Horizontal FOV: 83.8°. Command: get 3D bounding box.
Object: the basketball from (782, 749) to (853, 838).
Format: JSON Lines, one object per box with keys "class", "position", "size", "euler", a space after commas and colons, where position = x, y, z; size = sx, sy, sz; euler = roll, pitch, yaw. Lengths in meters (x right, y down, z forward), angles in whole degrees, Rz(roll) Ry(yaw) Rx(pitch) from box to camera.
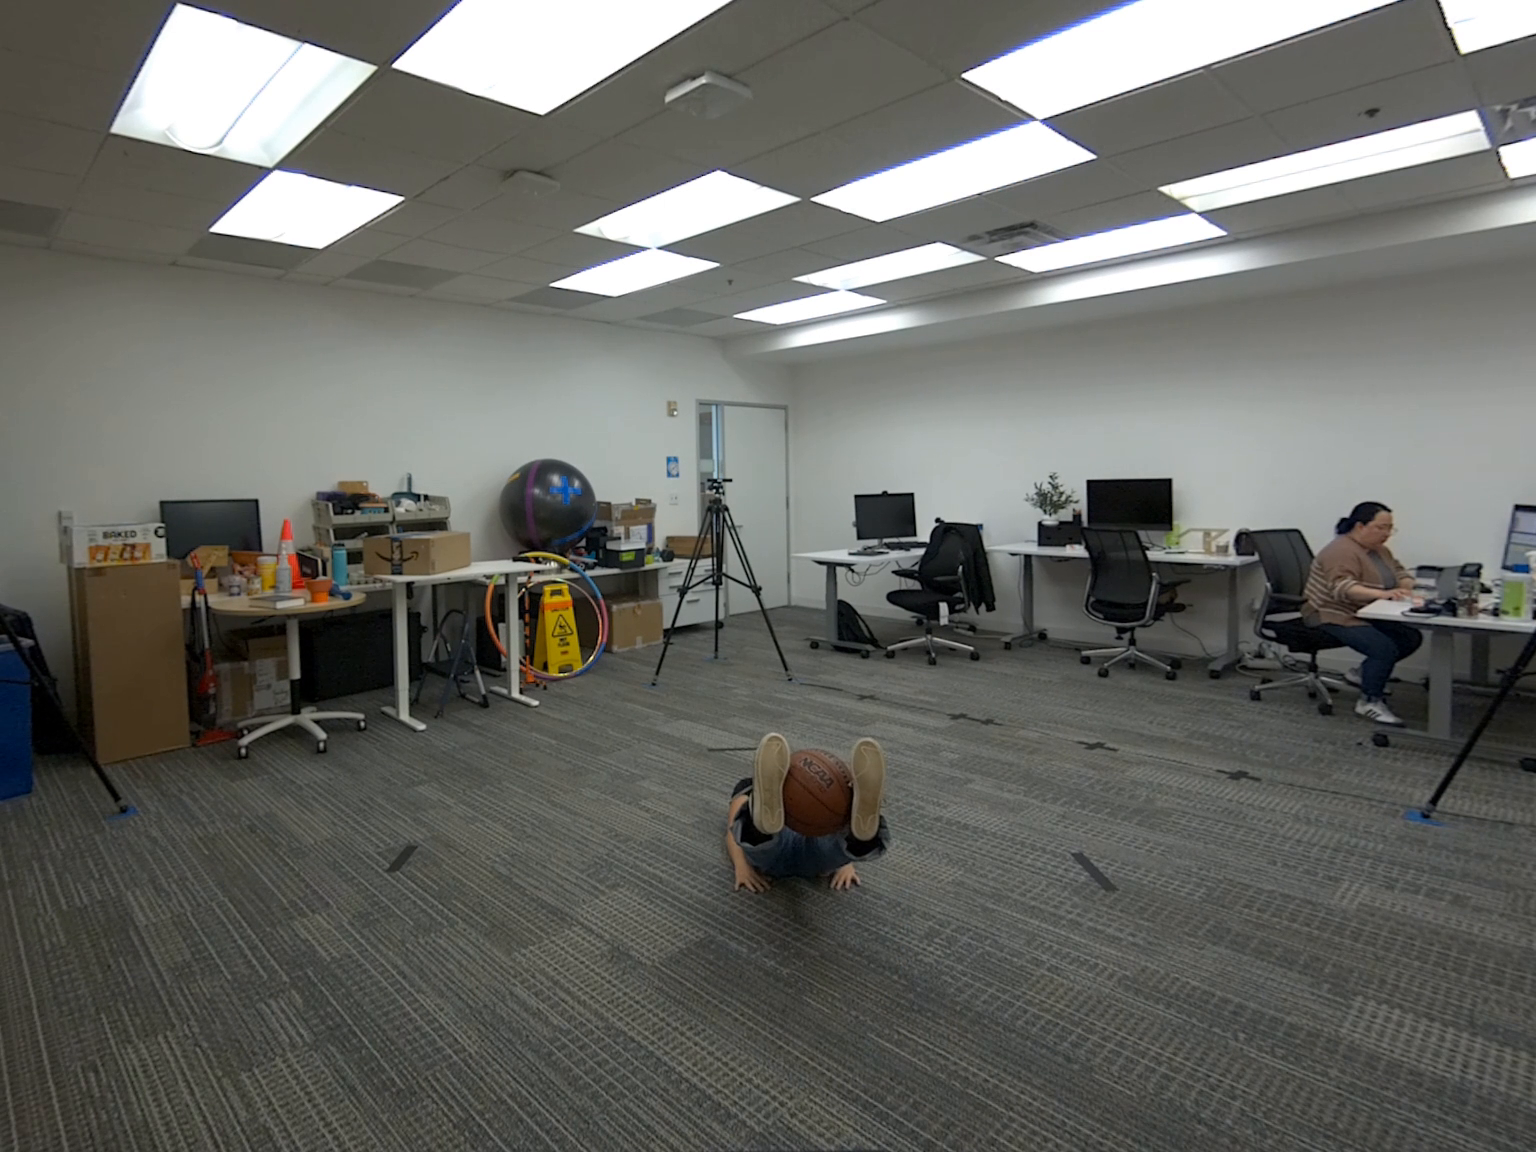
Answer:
{"class": "basketball", "position": [0.136, 0.615, 2.410], "size": [0.236, 0.235, 0.237], "euler": [-1, 5, -2]}
